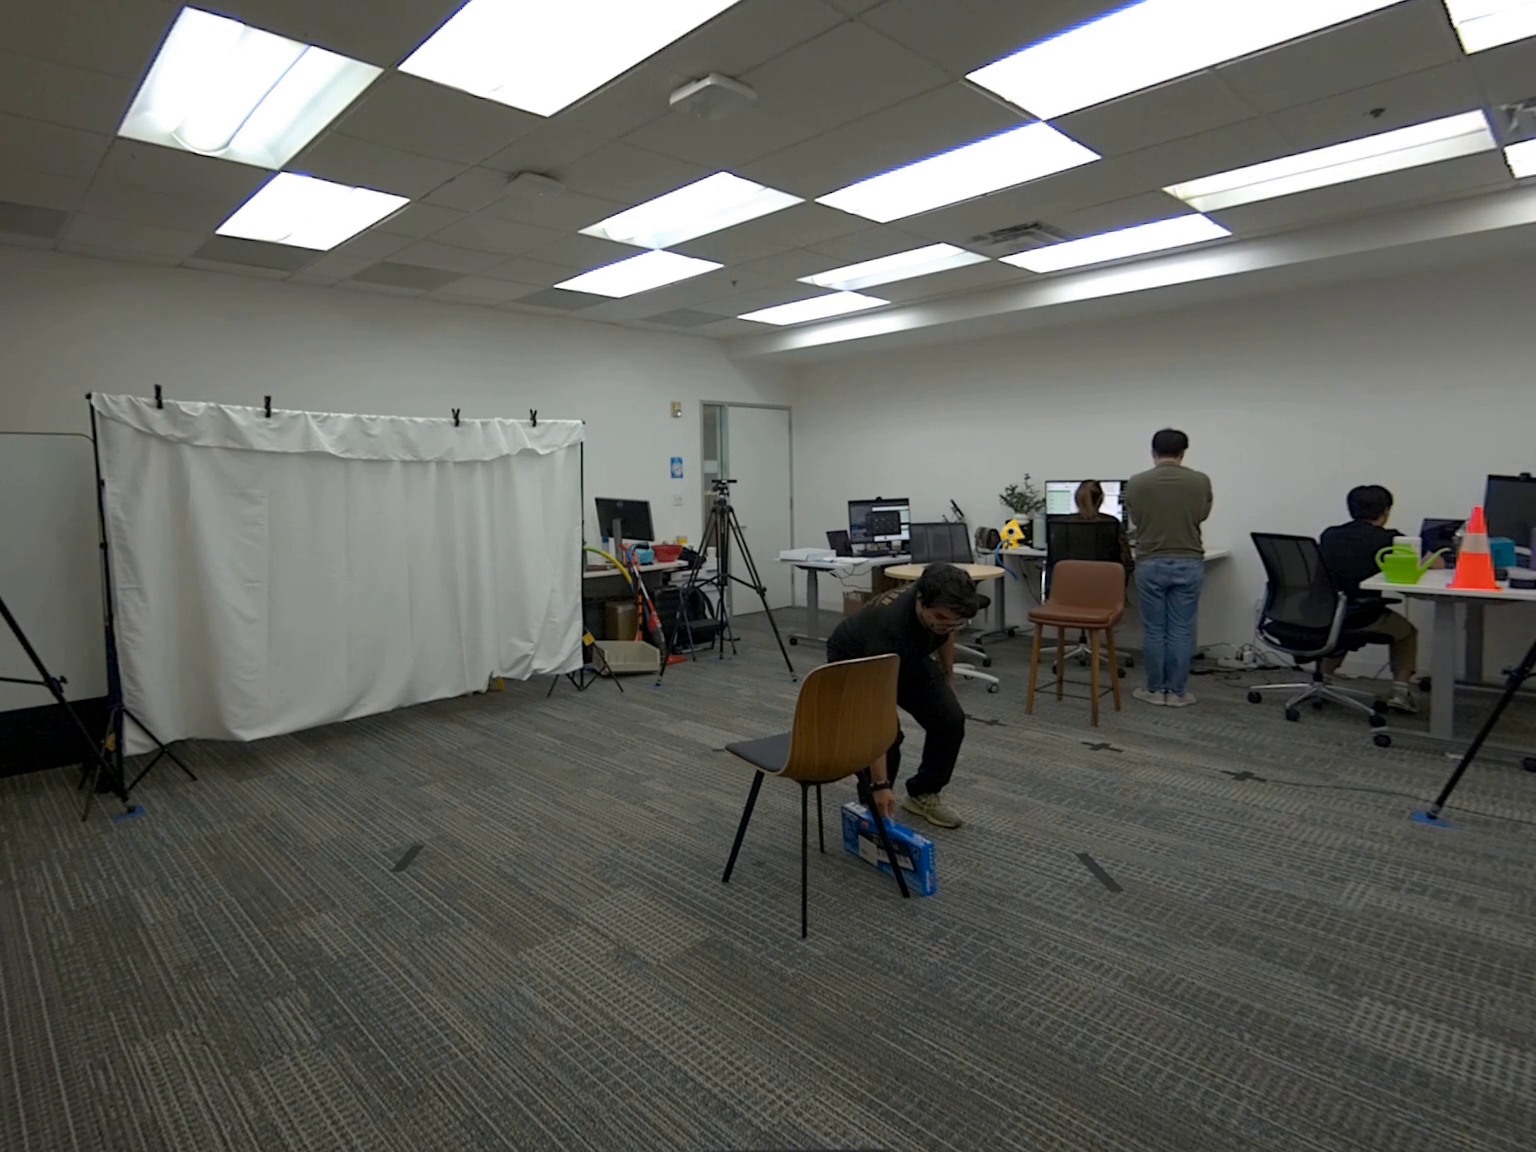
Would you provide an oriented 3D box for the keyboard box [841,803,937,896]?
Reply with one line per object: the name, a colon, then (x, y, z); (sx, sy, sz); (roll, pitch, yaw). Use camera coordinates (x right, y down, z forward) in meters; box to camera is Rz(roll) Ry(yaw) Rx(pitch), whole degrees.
keyboard box: (0.431, 0.963, 3.037); (0.058, 0.175, 0.449); (-8, 8, -31)
